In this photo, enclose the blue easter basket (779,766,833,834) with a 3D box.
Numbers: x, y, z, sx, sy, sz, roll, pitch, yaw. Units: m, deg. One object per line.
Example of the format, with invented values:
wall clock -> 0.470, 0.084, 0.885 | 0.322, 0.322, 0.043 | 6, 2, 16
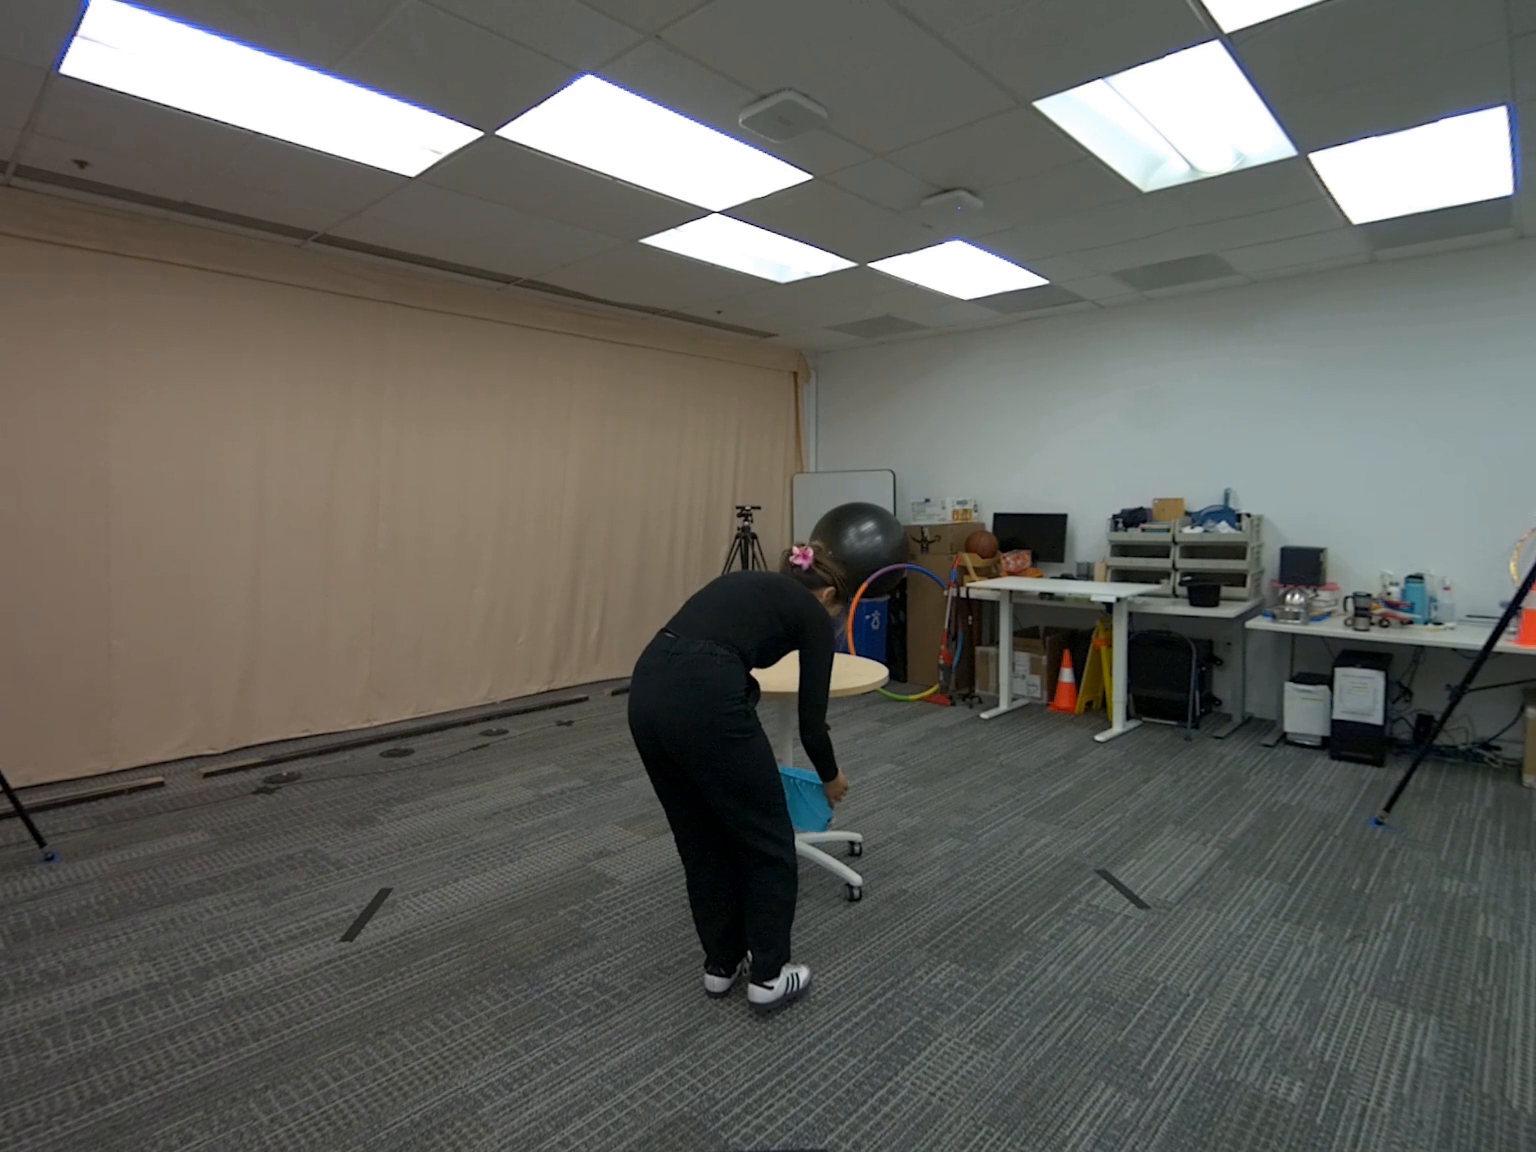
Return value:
blue easter basket -> 0.130, 0.712, 2.649 | 0.243, 0.156, 0.244 | 11, -1, -2
